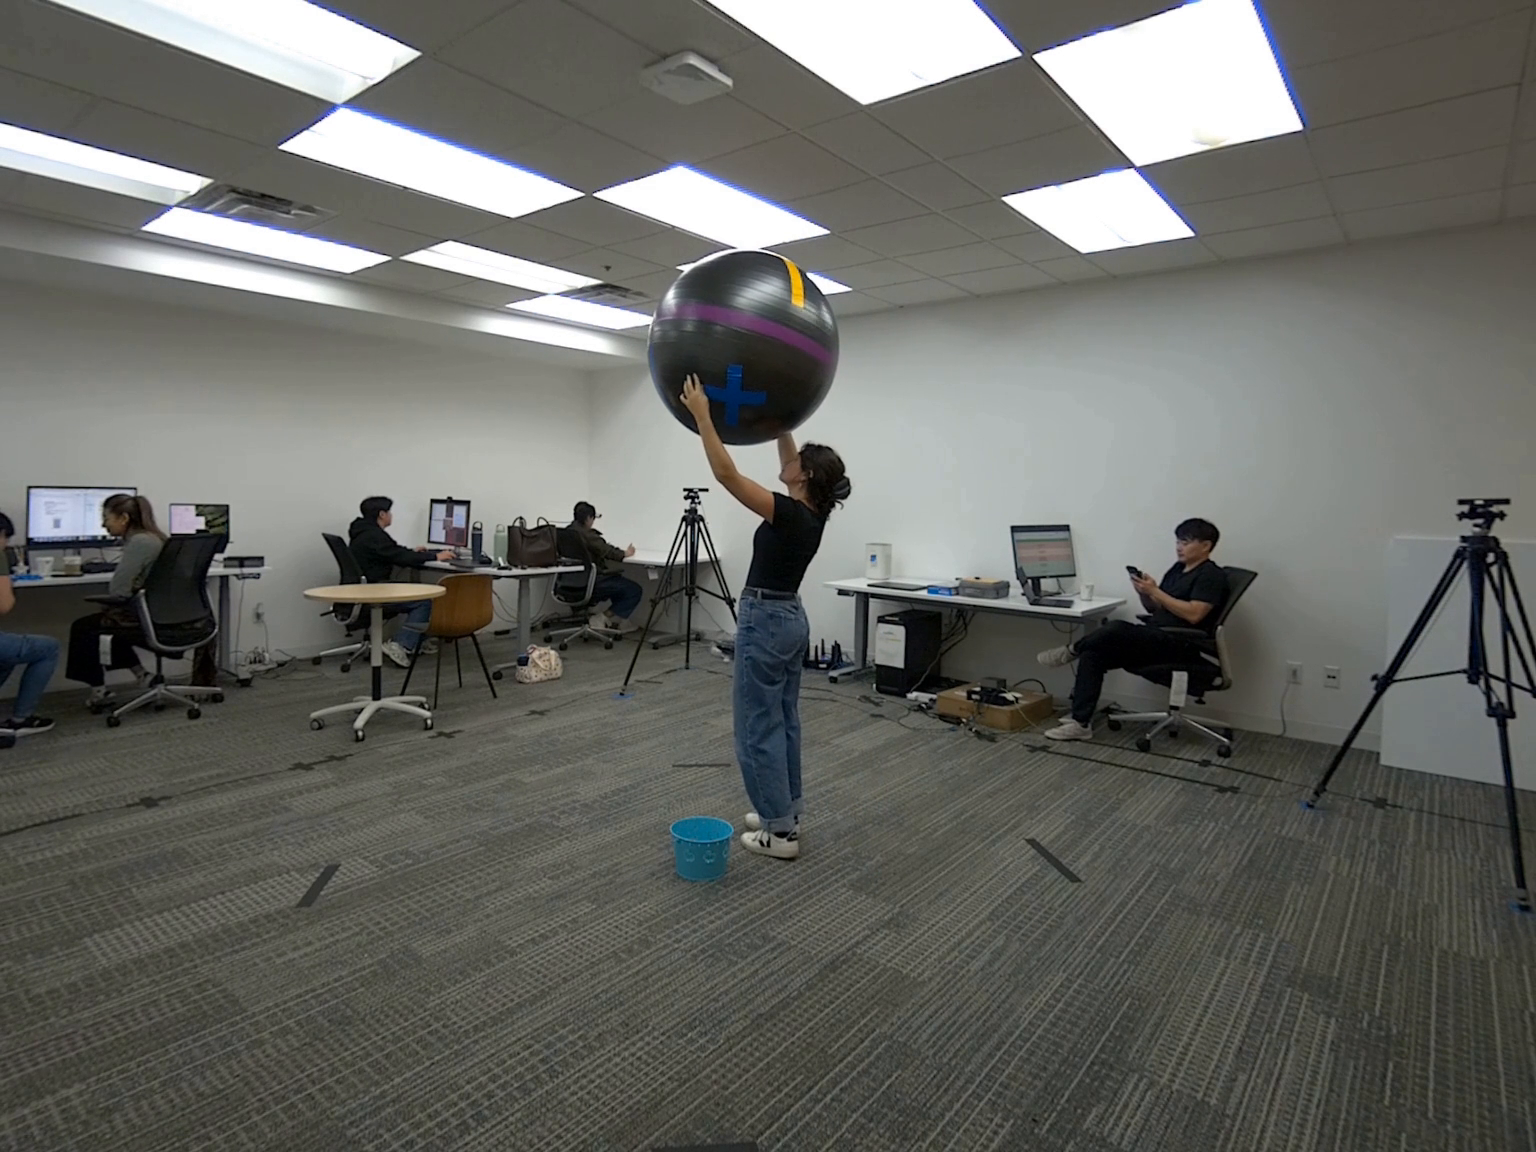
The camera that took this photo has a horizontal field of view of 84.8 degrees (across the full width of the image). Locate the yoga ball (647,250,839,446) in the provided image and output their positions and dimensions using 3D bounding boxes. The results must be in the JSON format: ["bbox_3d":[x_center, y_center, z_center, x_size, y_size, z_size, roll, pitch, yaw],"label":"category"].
[{"bbox_3d":[-0.100,-0.901,3.379,0.757,0.756,0.762,1,4,-2],"label":"yoga ball"}]
